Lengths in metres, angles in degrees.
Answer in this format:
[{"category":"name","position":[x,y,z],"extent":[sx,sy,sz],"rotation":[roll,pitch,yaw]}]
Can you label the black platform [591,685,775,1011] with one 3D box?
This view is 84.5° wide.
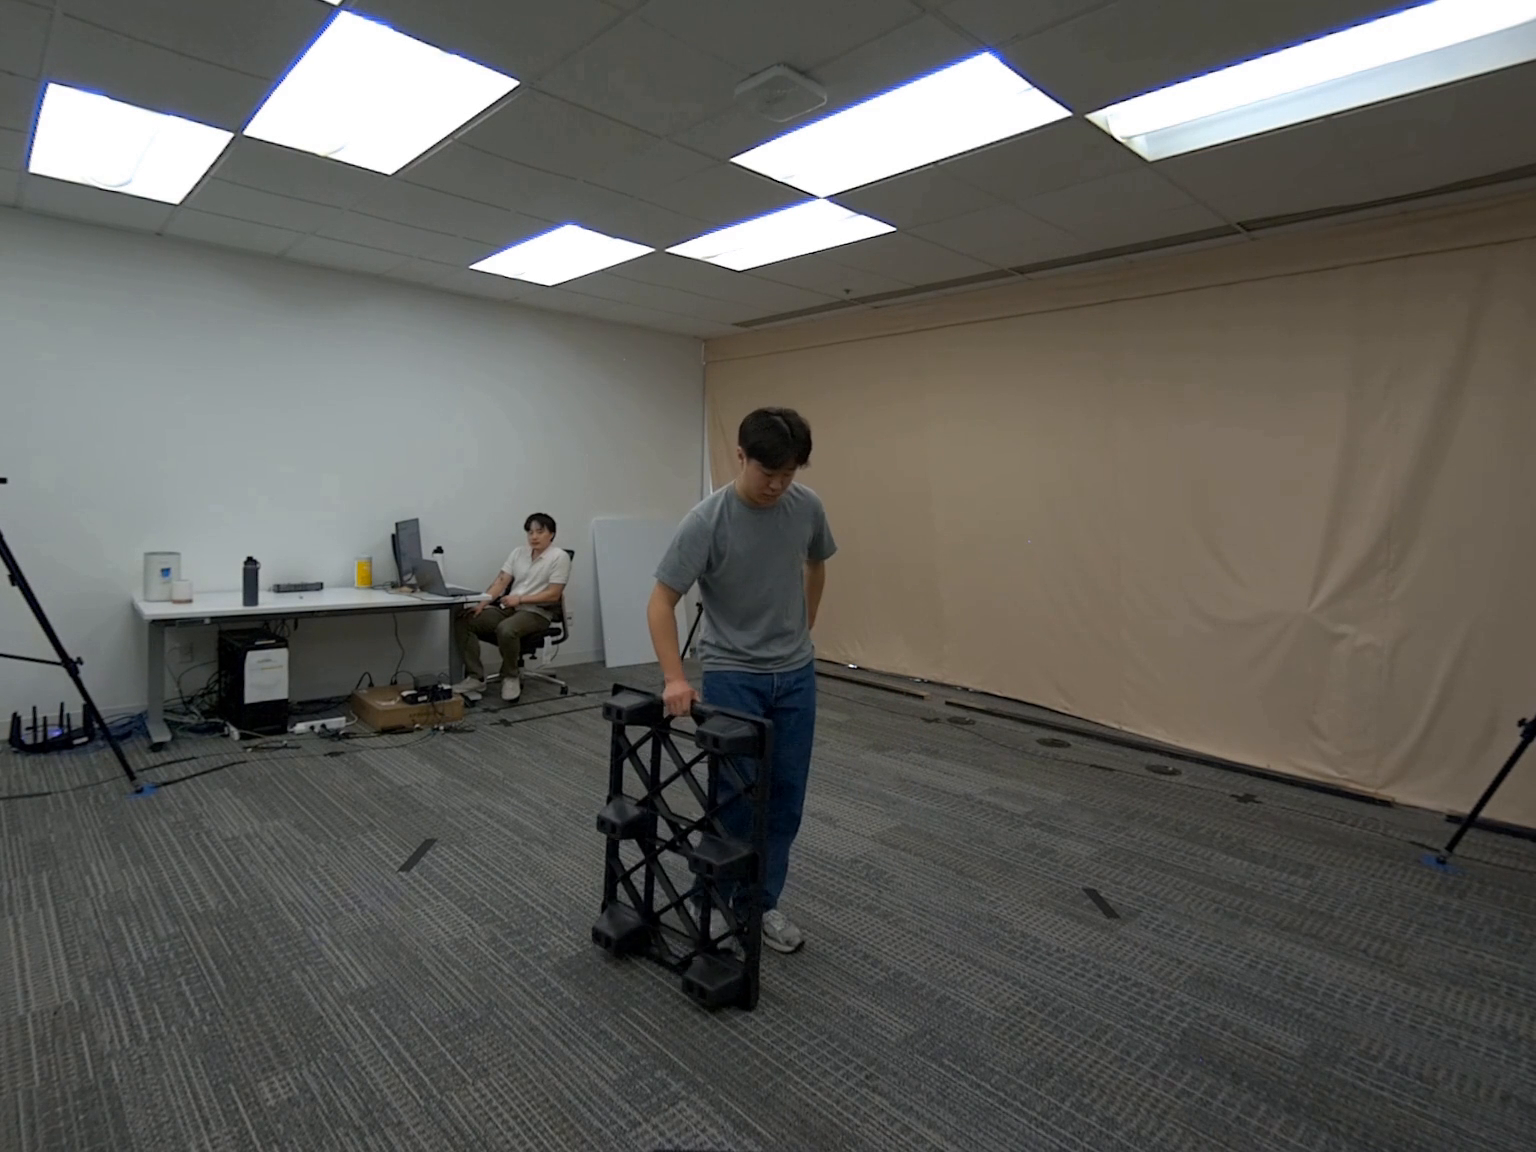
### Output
[{"category":"black platform","position":[-0.294,0.757,2.420],"extent":[0.620,0.803,0.140],"rotation":[7,5,38]}]
